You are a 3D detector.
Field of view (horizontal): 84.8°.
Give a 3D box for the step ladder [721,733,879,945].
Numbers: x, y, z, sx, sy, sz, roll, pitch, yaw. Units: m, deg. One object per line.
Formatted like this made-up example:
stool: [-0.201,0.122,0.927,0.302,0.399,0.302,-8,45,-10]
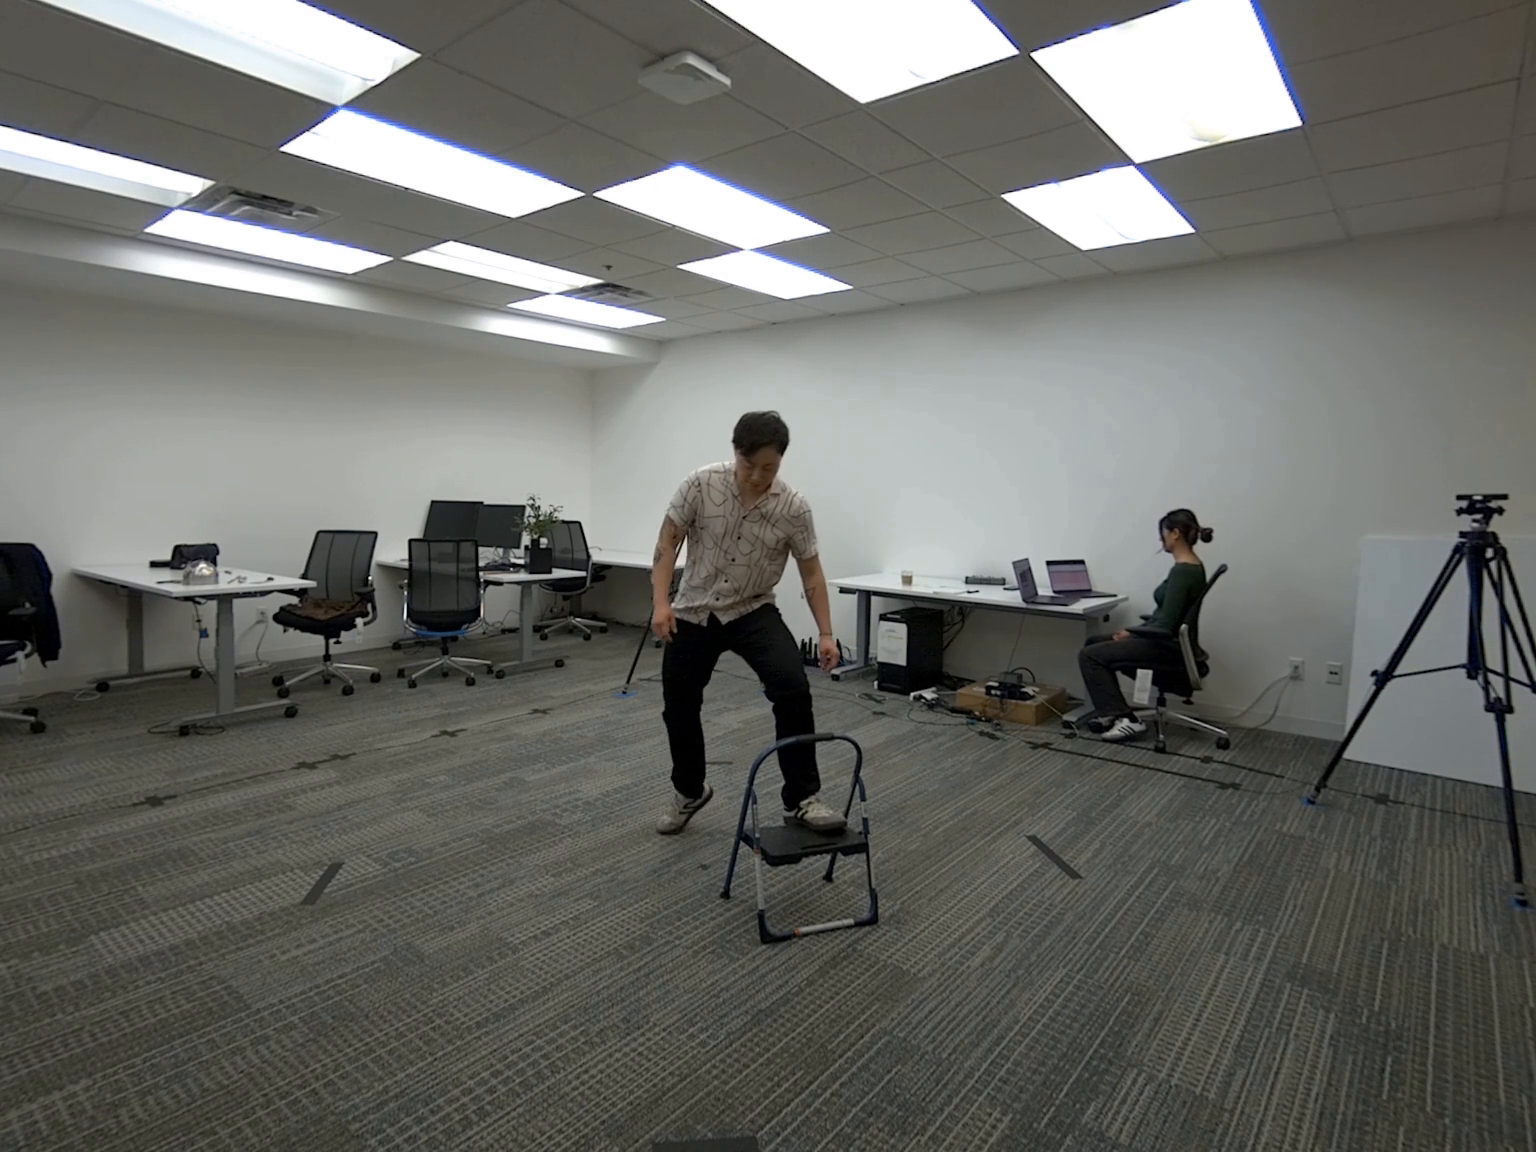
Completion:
step ladder: [0.101,0.799,2.802,0.421,0.604,0.358,-1,4,-24]
